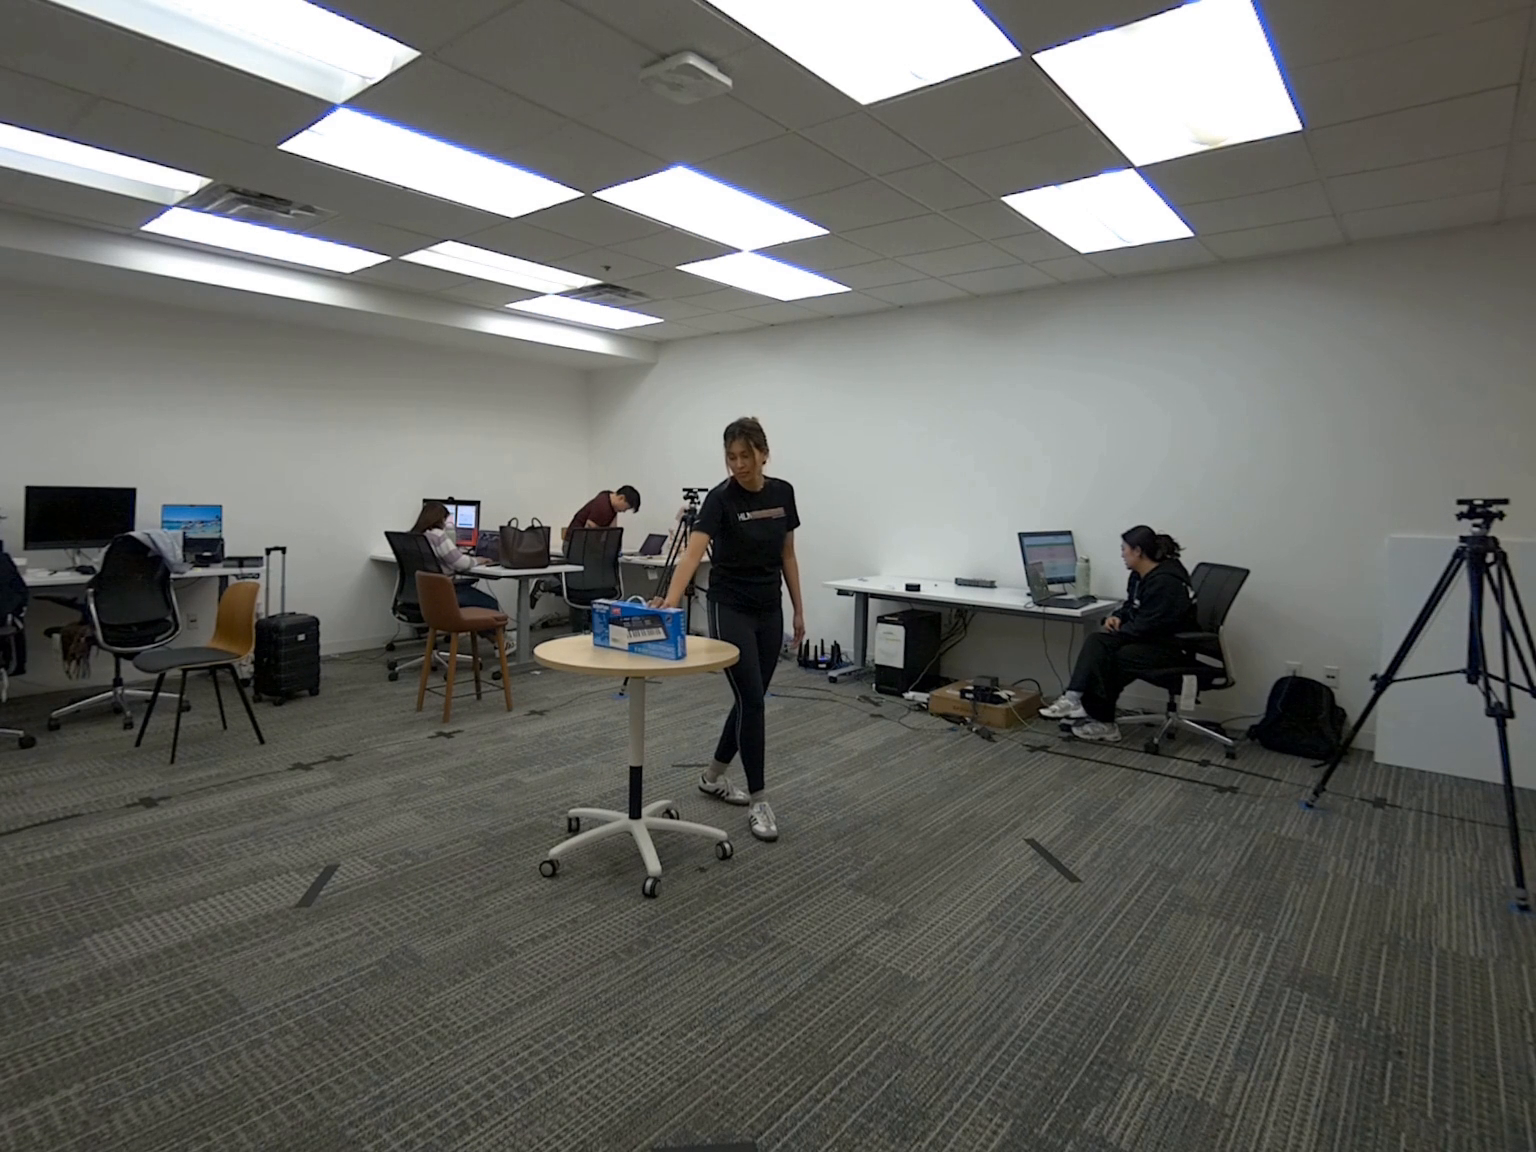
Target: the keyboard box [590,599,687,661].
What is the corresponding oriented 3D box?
[{"bbox_3d":[-0.495,0.192,3.131,0.451,0.175,0.057,5,8,38],"label":"keyboard box"}]
